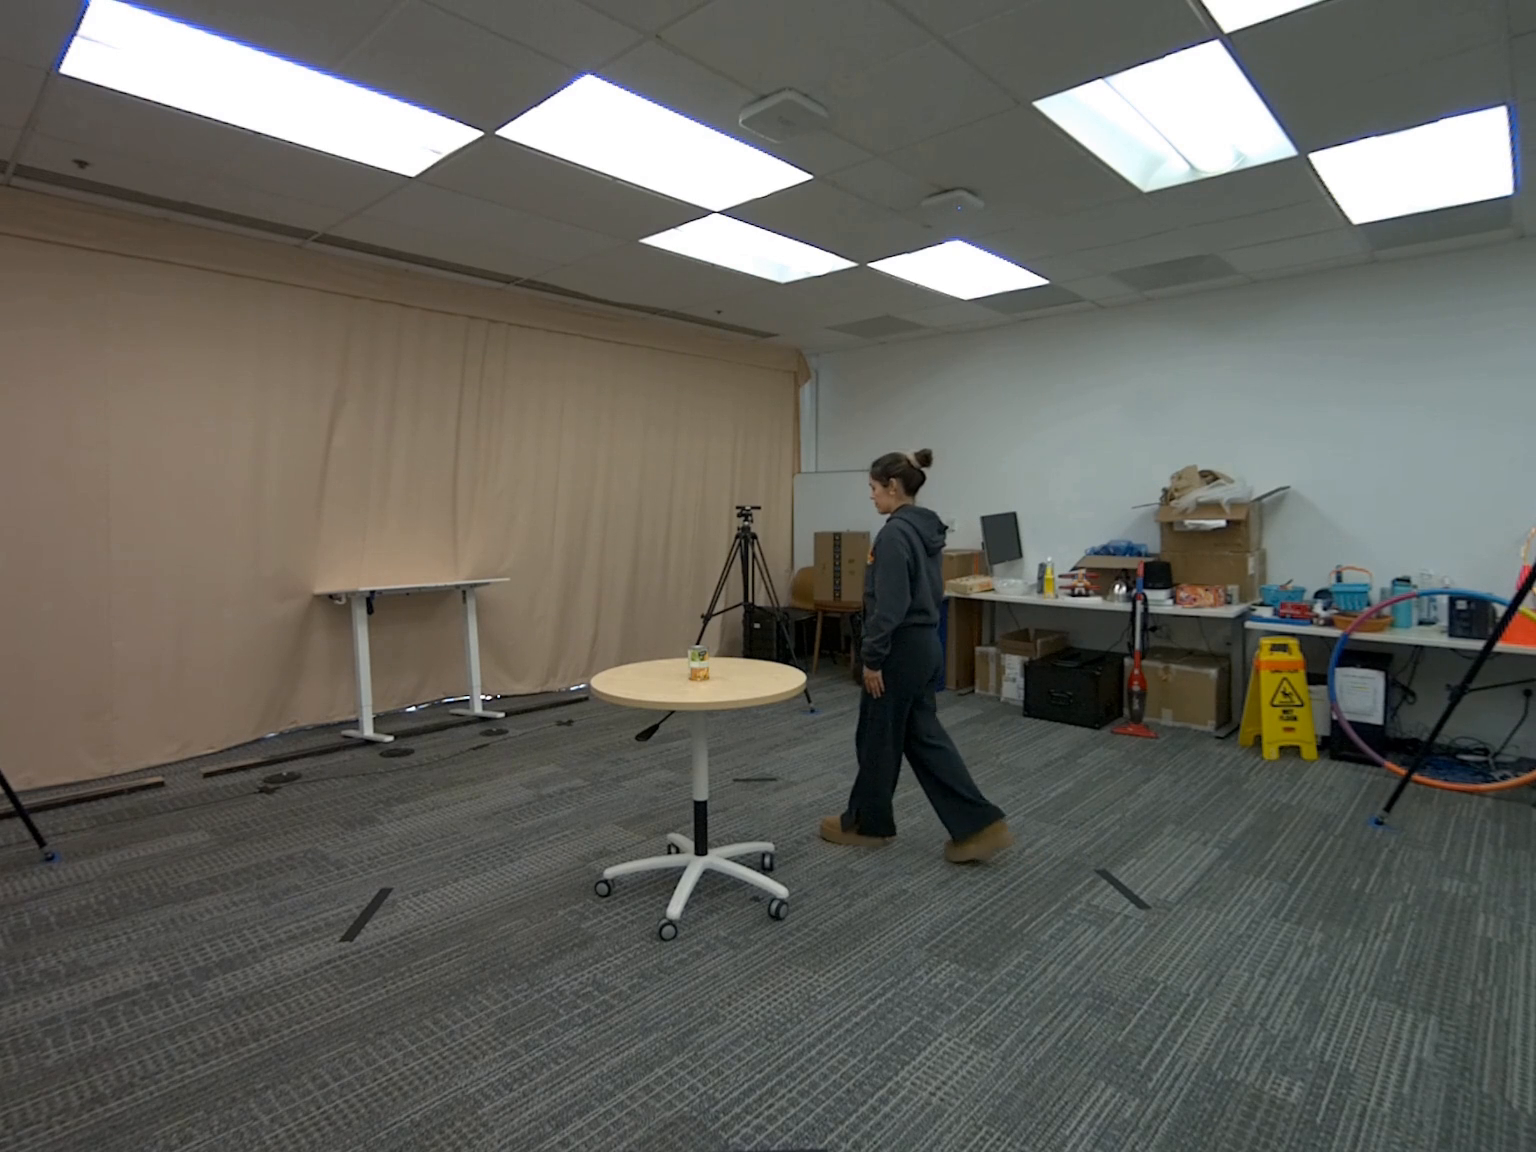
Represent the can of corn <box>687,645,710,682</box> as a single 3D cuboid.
[{"bbox_3d":[-0.232,0.307,2.973,0.074,0.111,0.074,1,2,-2],"label":"can of corn"}]
